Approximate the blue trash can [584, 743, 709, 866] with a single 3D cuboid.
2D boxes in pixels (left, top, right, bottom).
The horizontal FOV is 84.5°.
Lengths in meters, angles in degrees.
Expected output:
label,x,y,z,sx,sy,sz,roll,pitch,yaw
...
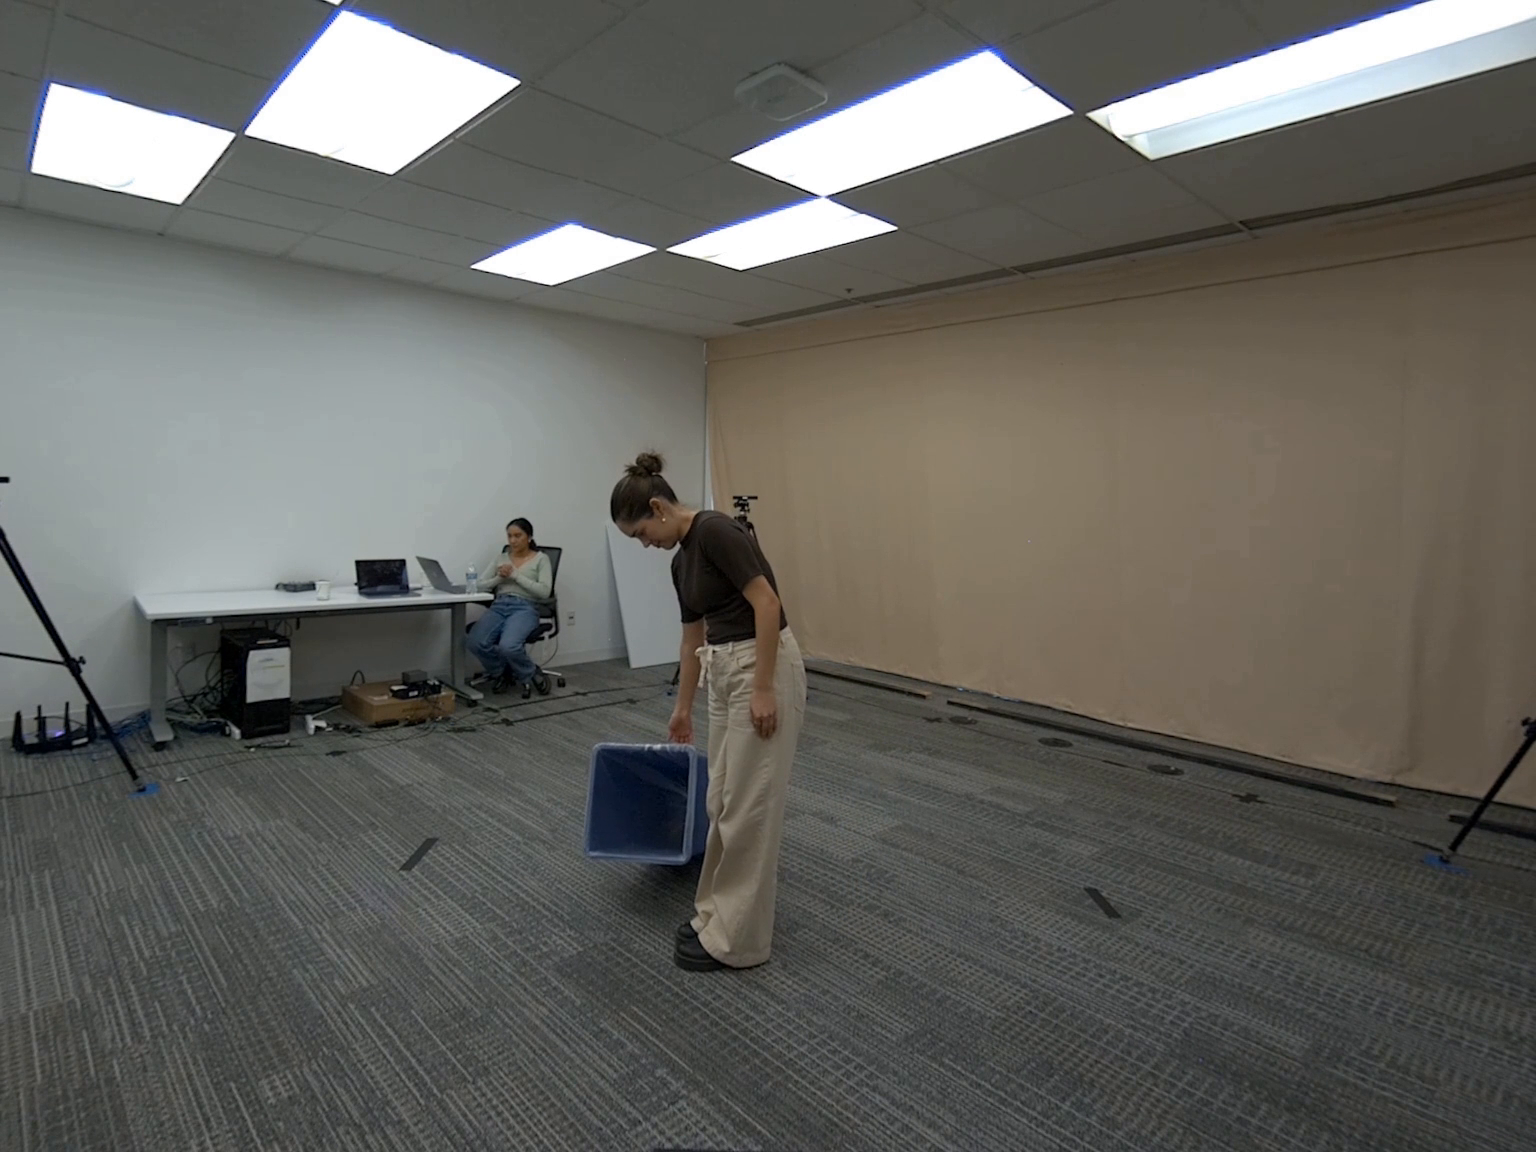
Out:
label,x,y,z,sx,sy,sz,roll,pitch,yaw
blue trash can,-0.360,0.835,3.072,0.382,0.378,0.698,-1,-17,12
